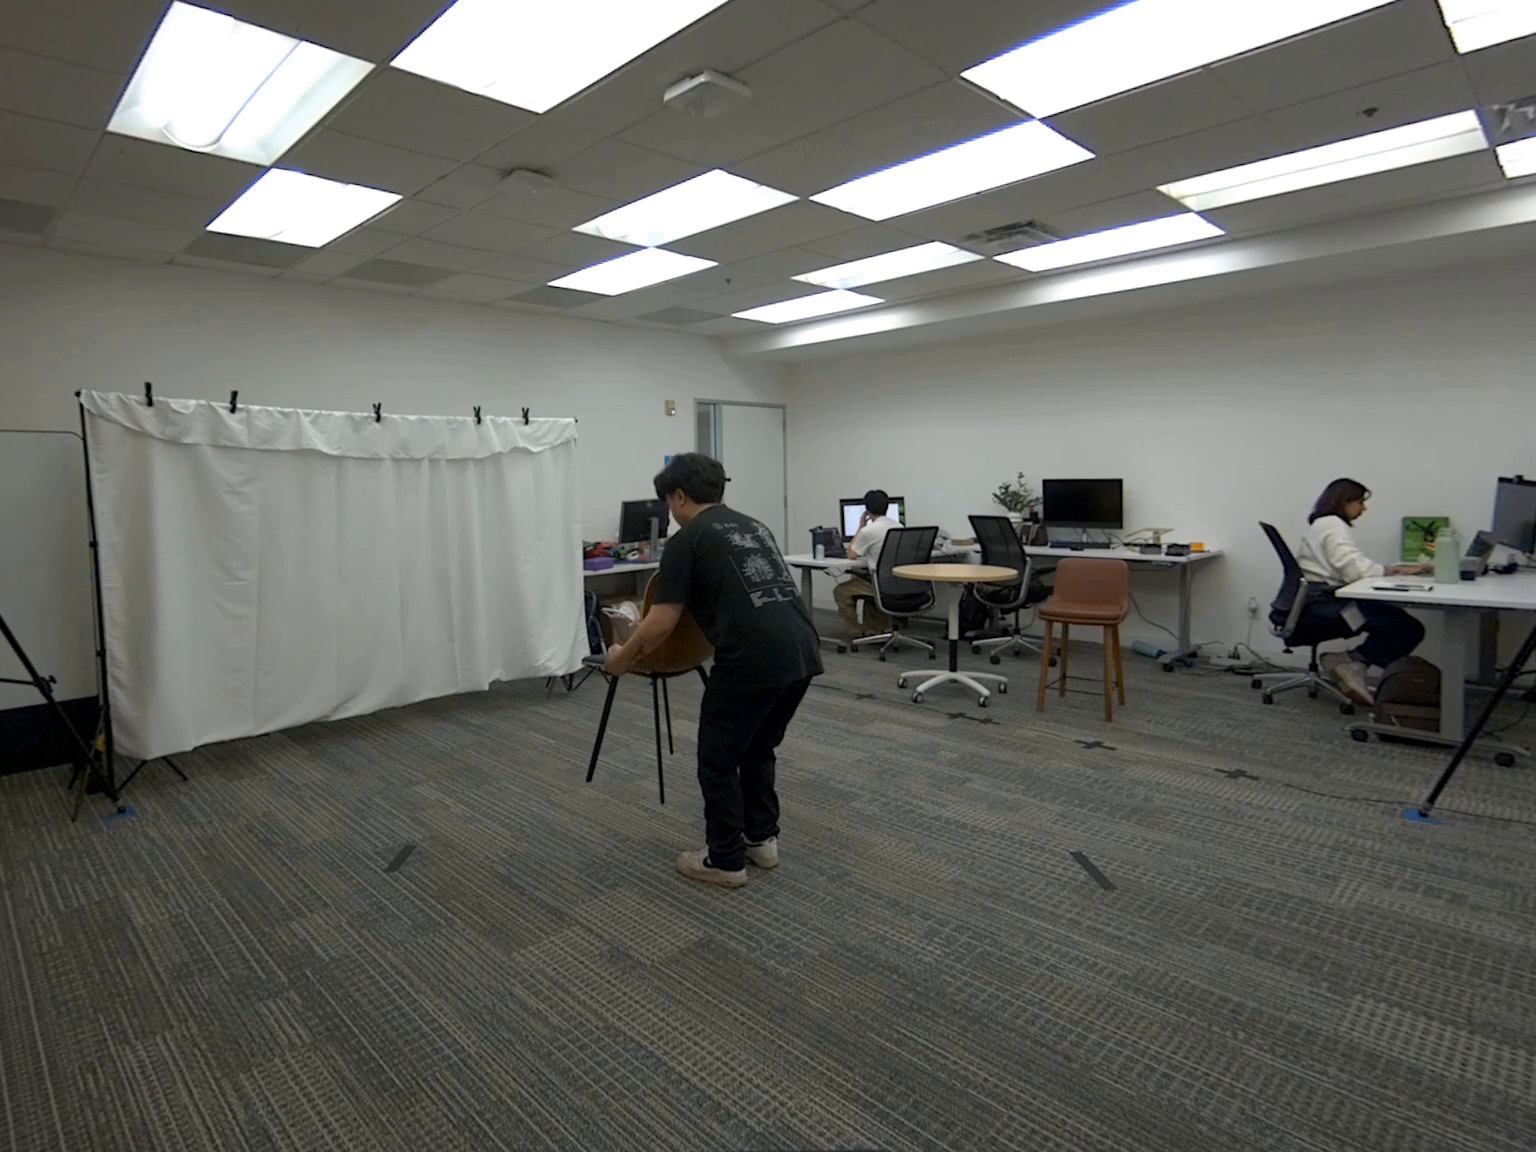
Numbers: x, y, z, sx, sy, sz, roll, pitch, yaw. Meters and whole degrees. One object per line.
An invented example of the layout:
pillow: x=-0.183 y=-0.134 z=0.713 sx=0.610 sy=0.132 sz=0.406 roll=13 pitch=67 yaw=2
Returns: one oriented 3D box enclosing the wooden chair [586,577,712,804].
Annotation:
wooden chair: x=-0.432 y=0.362 z=3.333 sx=0.539 sy=0.872 sz=0.466 roll=5 pitch=8 yaw=43
